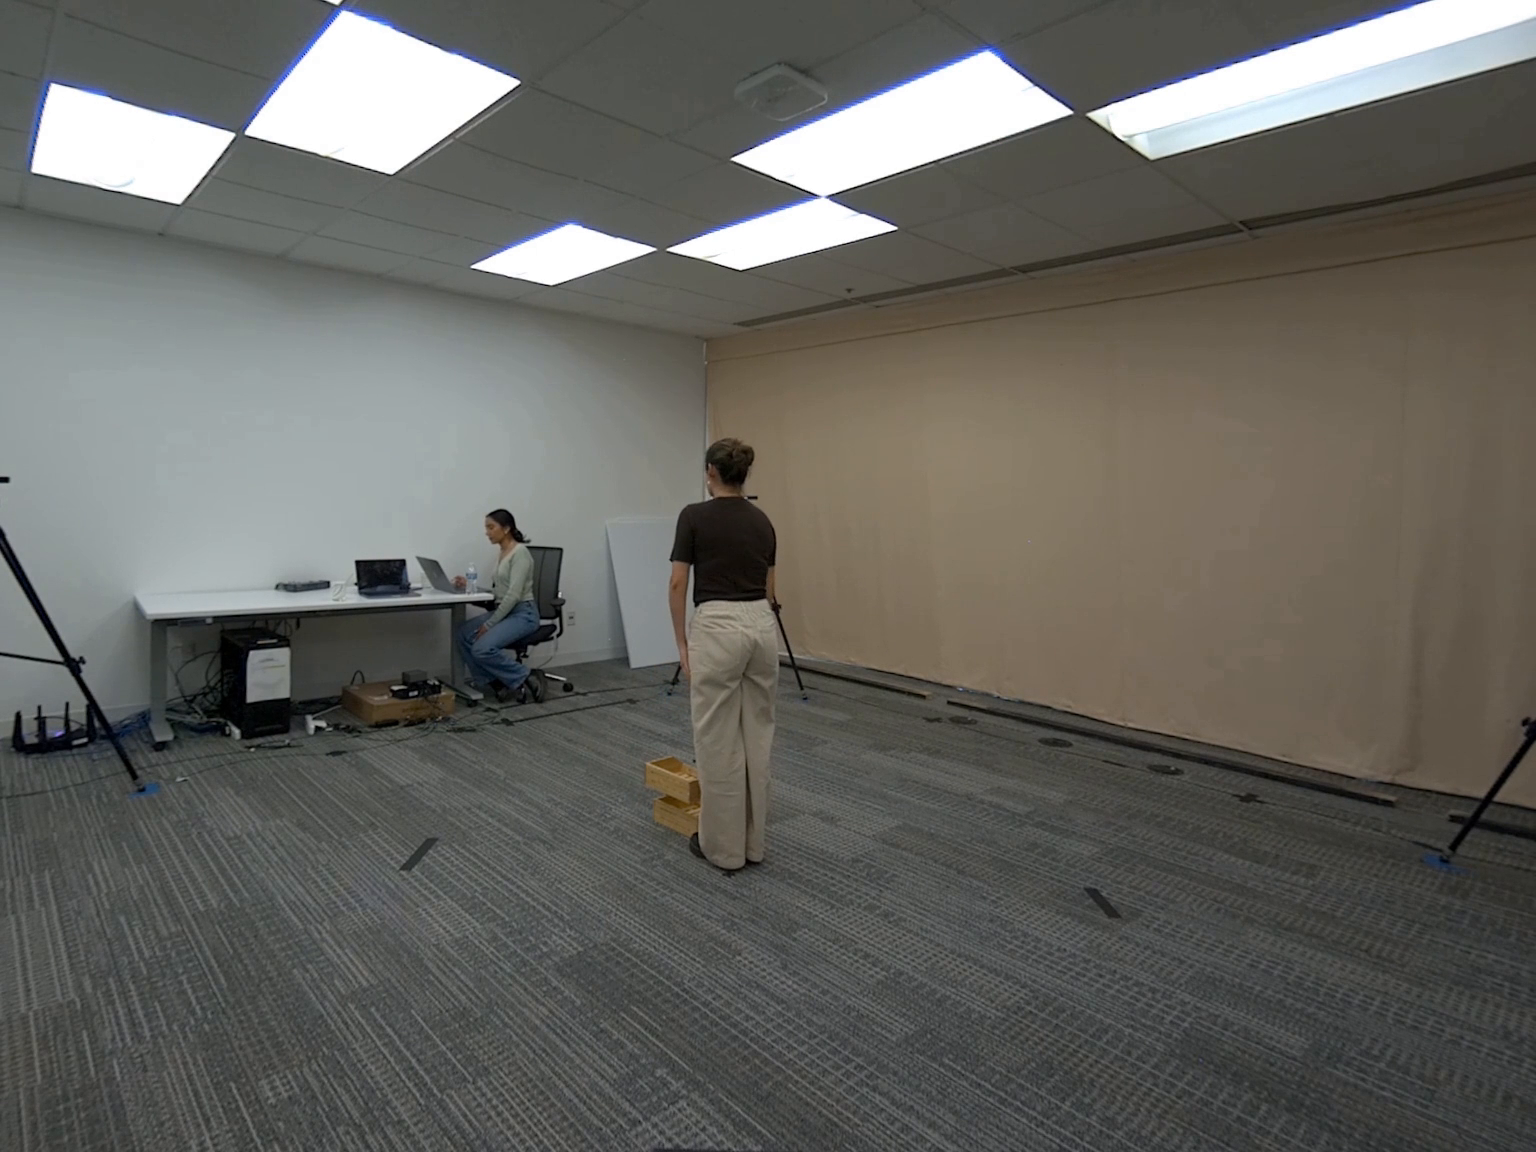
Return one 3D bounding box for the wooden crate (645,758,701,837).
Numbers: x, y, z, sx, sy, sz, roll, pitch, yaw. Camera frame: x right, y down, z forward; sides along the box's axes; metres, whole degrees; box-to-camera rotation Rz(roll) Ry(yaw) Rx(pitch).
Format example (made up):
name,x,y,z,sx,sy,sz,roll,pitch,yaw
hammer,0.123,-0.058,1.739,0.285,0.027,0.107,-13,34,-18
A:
name,x,y,z,sx,sy,sz,roll,pitch,yaw
wooden crate,-0.321,0.922,3.564,0.295,0.272,0.333,-4,7,-44
